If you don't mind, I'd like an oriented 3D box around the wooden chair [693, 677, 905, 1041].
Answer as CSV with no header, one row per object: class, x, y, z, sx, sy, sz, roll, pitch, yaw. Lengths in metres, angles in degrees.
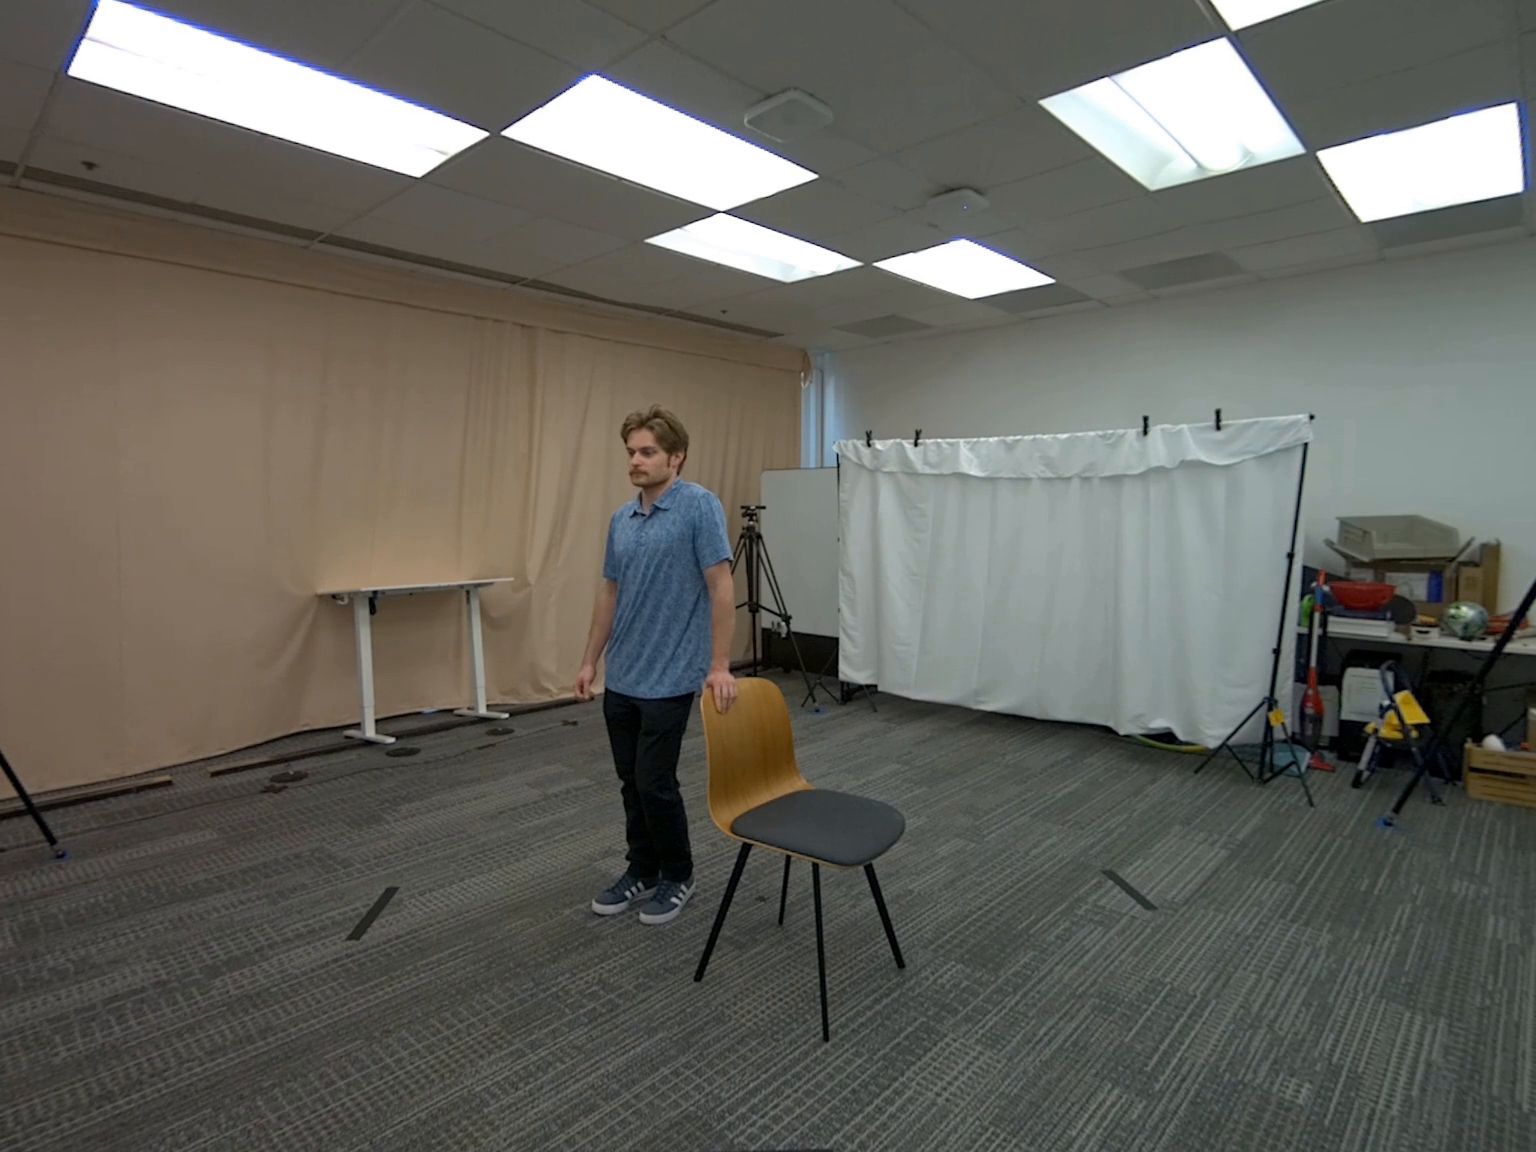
wooden chair,0.110,0.757,2.469,0.539,0.877,0.464,-3,0,37
